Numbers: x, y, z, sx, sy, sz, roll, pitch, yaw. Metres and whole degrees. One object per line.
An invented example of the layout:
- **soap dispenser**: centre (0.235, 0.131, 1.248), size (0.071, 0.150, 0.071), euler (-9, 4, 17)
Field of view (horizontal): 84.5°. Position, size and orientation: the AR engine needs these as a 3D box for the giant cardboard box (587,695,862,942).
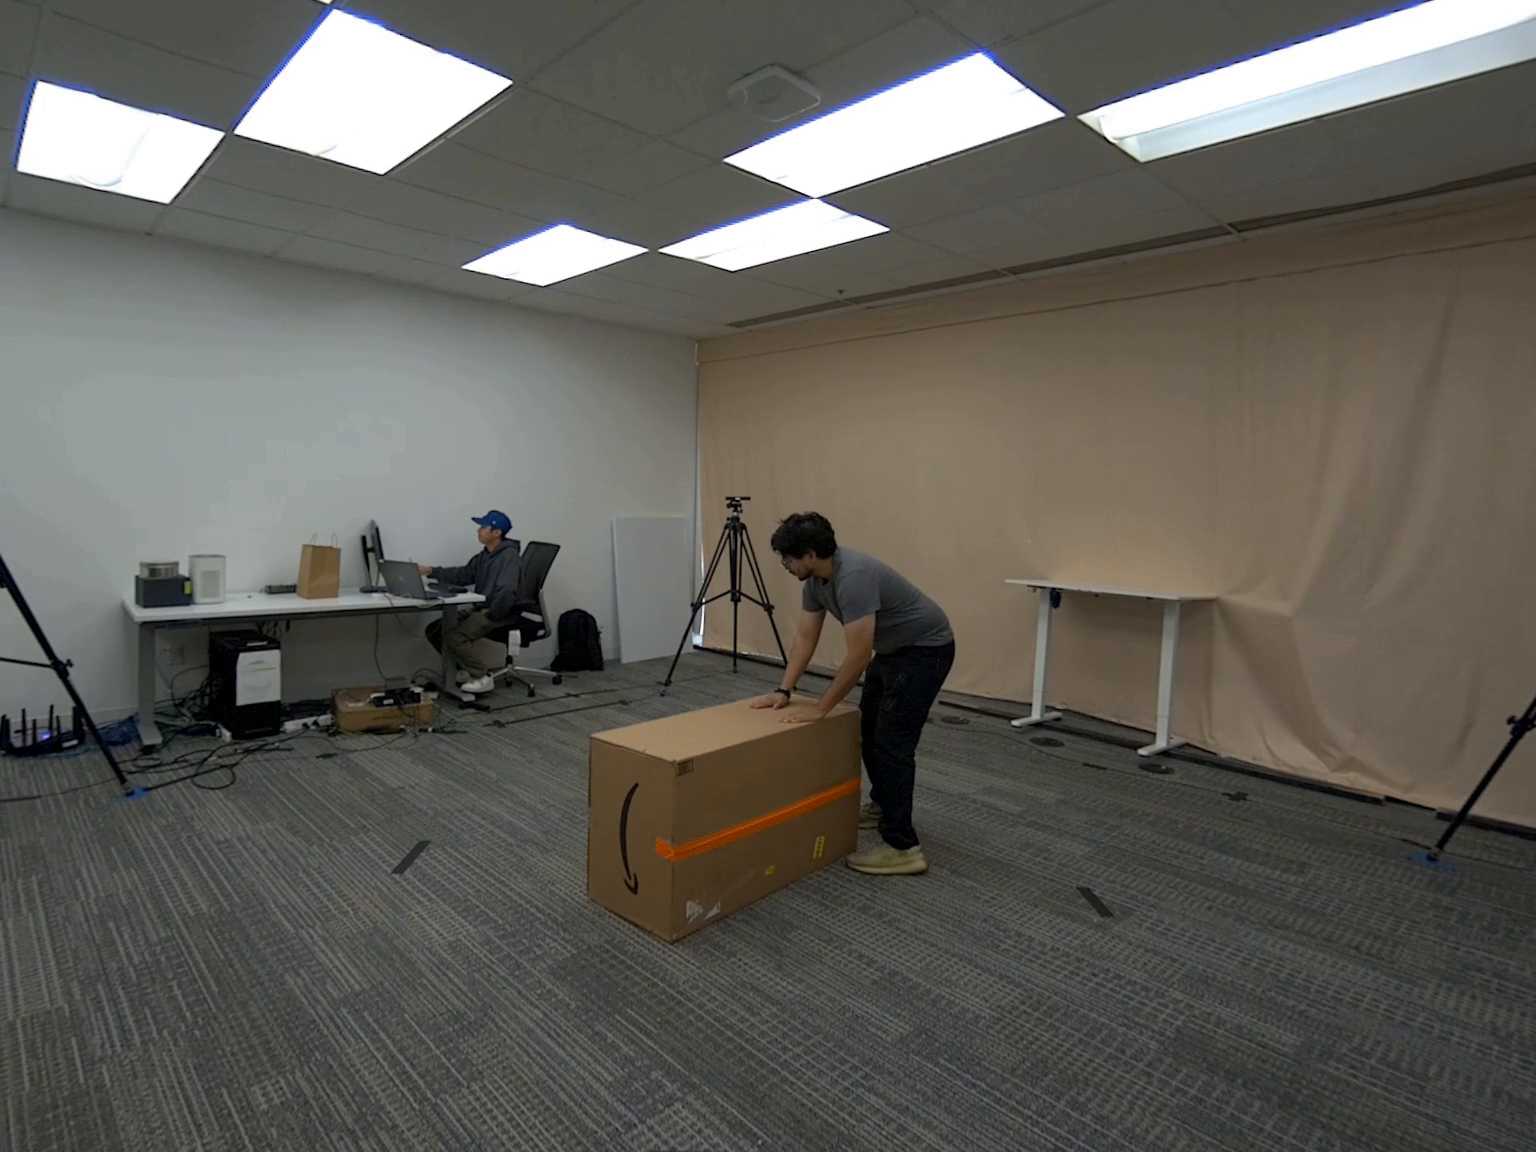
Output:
- **giant cardboard box**: centre (-0.130, 0.818, 3.104), size (0.437, 0.576, 1.003), euler (5, 6, 41)
